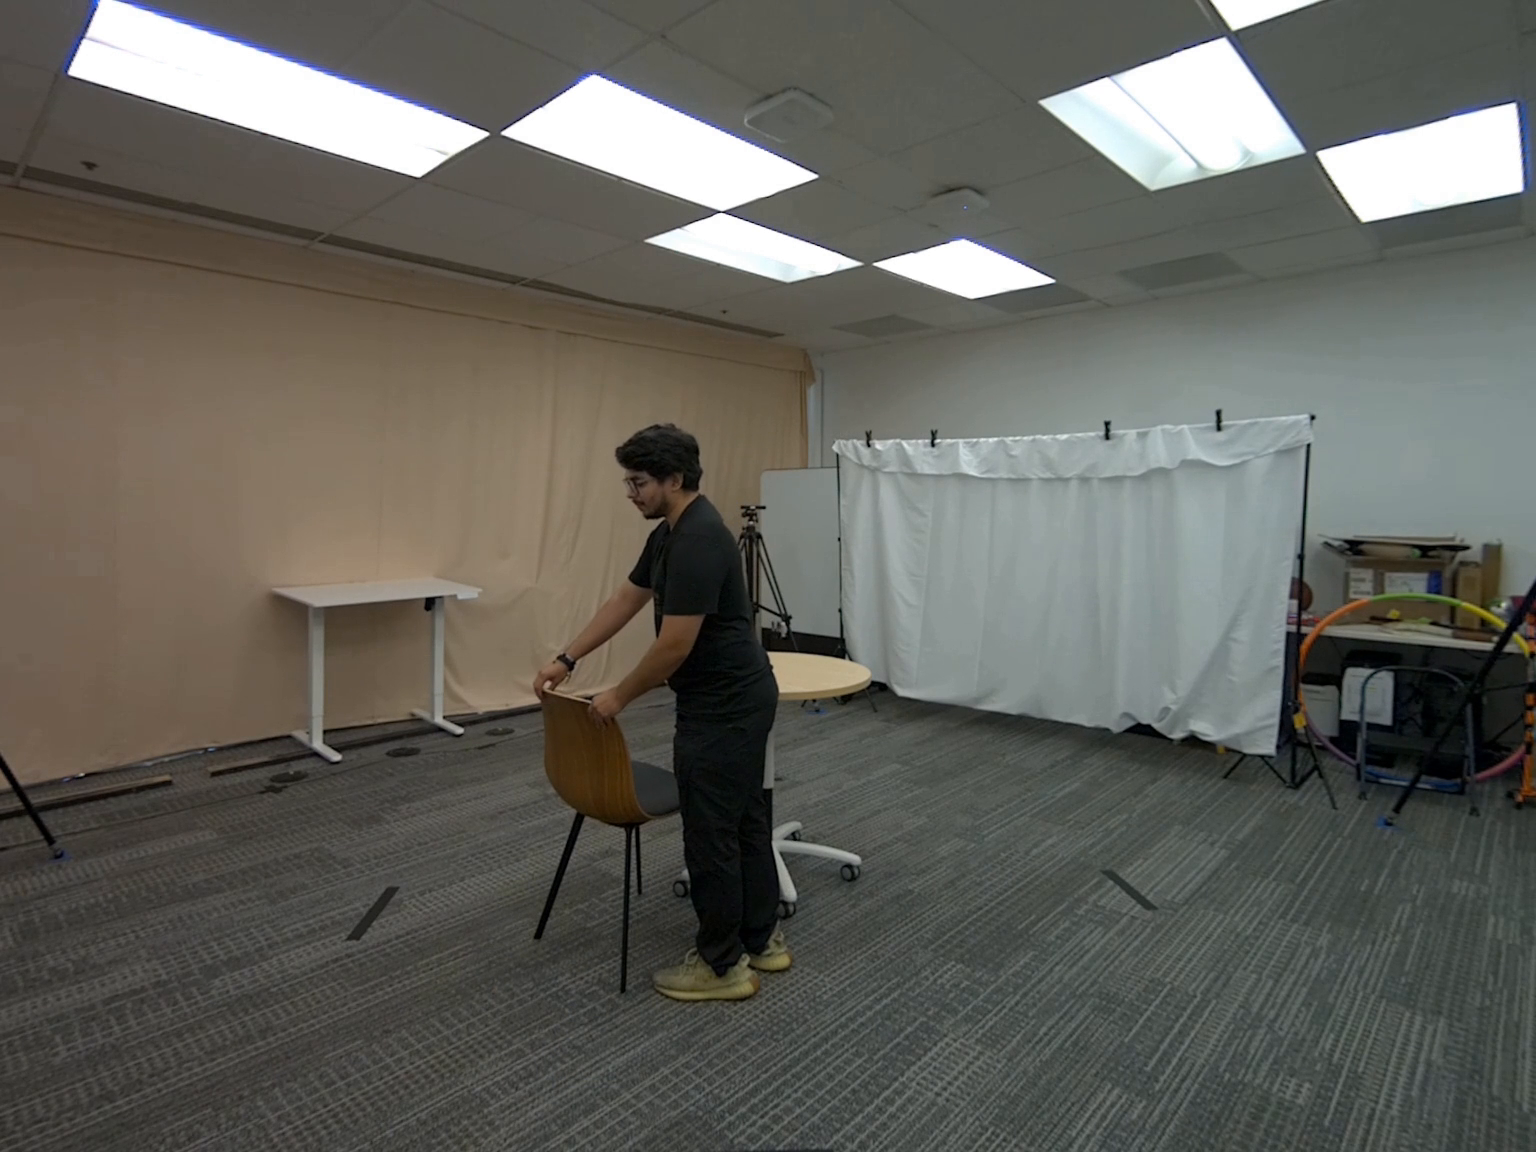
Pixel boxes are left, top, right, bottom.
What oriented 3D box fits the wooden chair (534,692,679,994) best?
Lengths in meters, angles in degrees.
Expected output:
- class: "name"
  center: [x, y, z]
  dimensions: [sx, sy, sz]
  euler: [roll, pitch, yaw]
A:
- class: "wooden chair"
  center: [-0.439, 0.741, 2.701]
  dimensions: [0.494, 0.873, 0.508]
  euler: [2, 8, 42]
